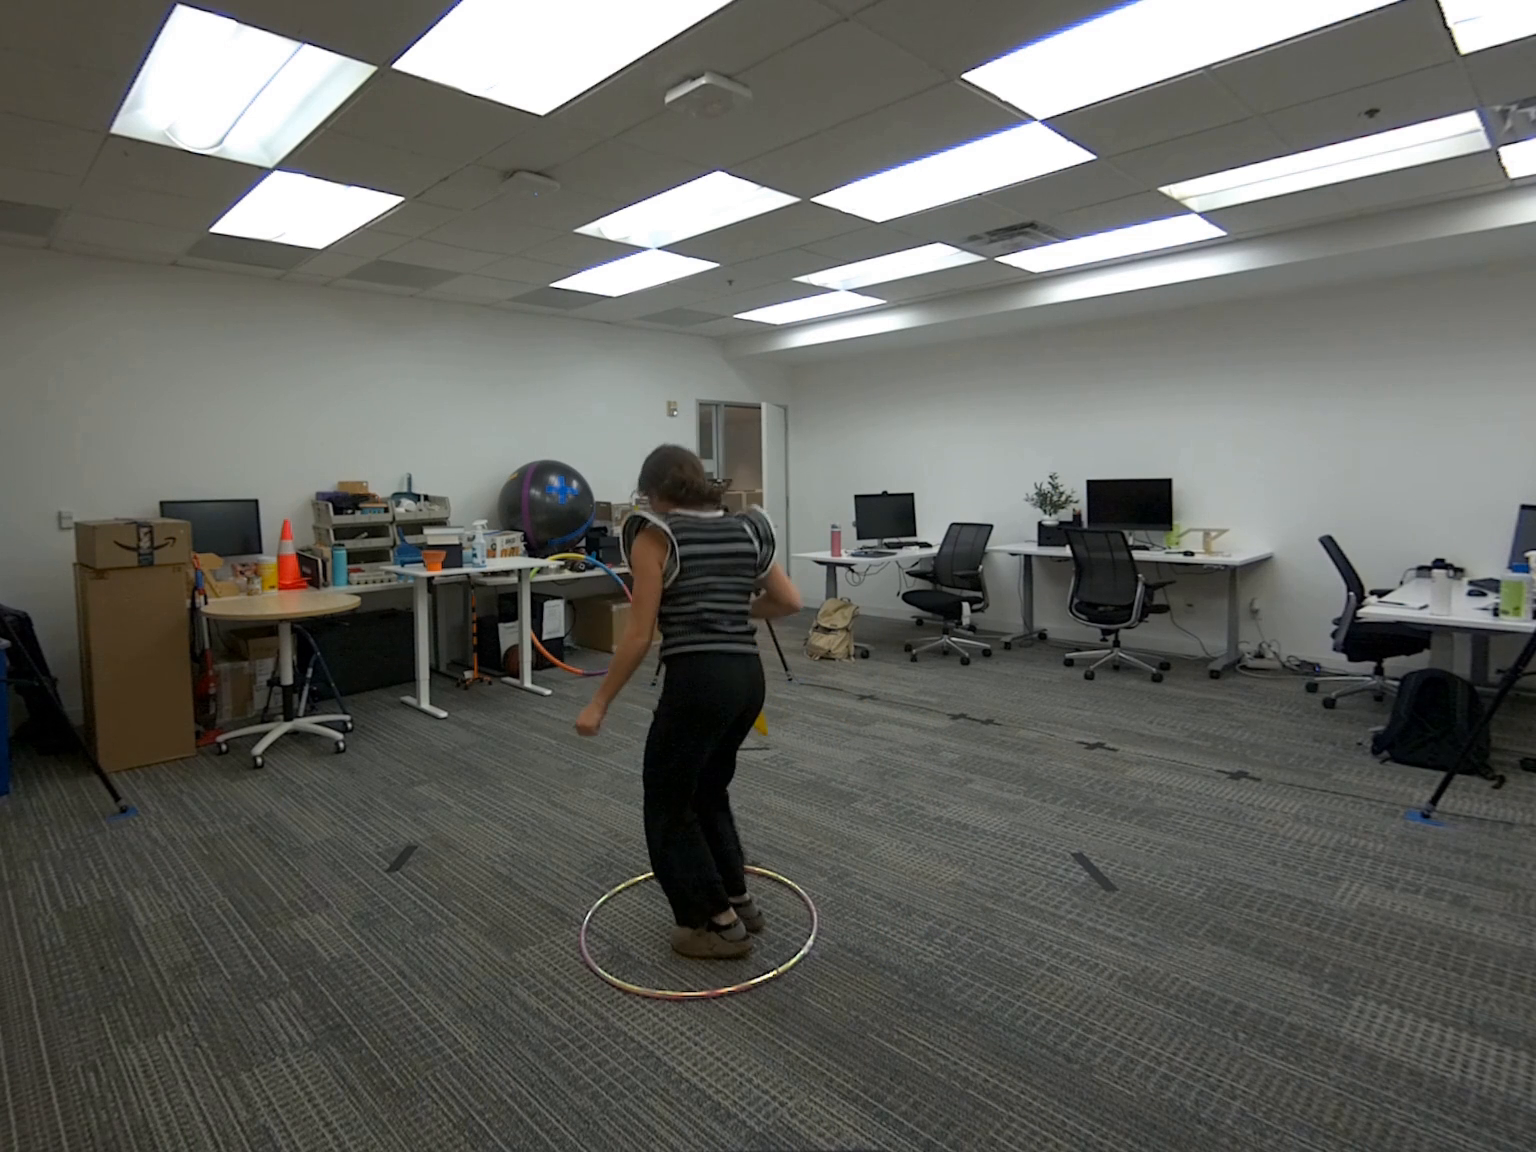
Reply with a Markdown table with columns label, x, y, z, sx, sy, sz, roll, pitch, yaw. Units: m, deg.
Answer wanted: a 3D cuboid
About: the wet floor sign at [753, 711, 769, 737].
| label | x | y | z | sx | sy | sz | roll | pitch | yaw |
| --- | --- | --- | --- | --- | --- | --- | --- | --- | --- |
| wet floor sign | -0.184 | 0.364 | 2.924 | 0.292 | 0.629 | 0.288 | 29 | 48 | 28 |
